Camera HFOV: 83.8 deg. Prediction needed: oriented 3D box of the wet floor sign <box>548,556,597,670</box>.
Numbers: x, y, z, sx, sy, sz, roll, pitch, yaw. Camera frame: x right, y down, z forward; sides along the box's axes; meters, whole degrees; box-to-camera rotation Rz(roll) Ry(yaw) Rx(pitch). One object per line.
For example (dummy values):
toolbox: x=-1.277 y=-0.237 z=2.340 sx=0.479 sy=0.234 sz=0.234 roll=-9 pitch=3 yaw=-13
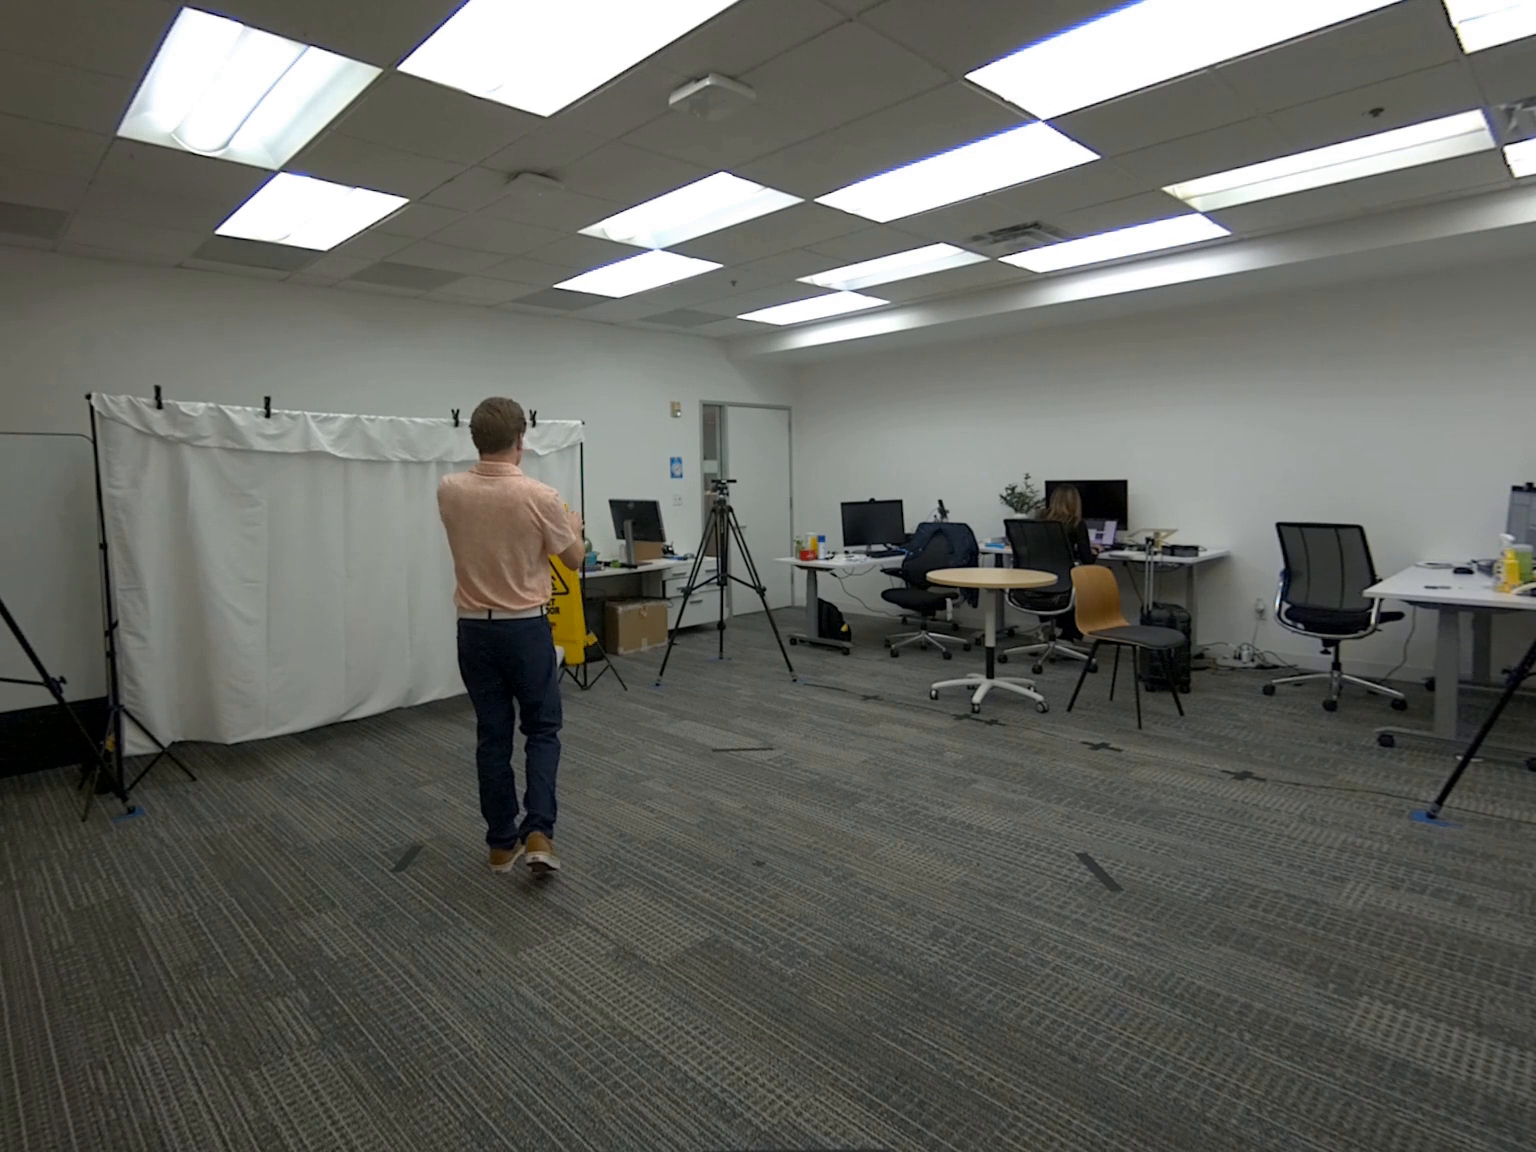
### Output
wet floor sign: x=-0.911 y=0.030 z=3.533 sx=0.280 sy=0.640 sz=0.294 roll=-4 pitch=10 yaw=-8
